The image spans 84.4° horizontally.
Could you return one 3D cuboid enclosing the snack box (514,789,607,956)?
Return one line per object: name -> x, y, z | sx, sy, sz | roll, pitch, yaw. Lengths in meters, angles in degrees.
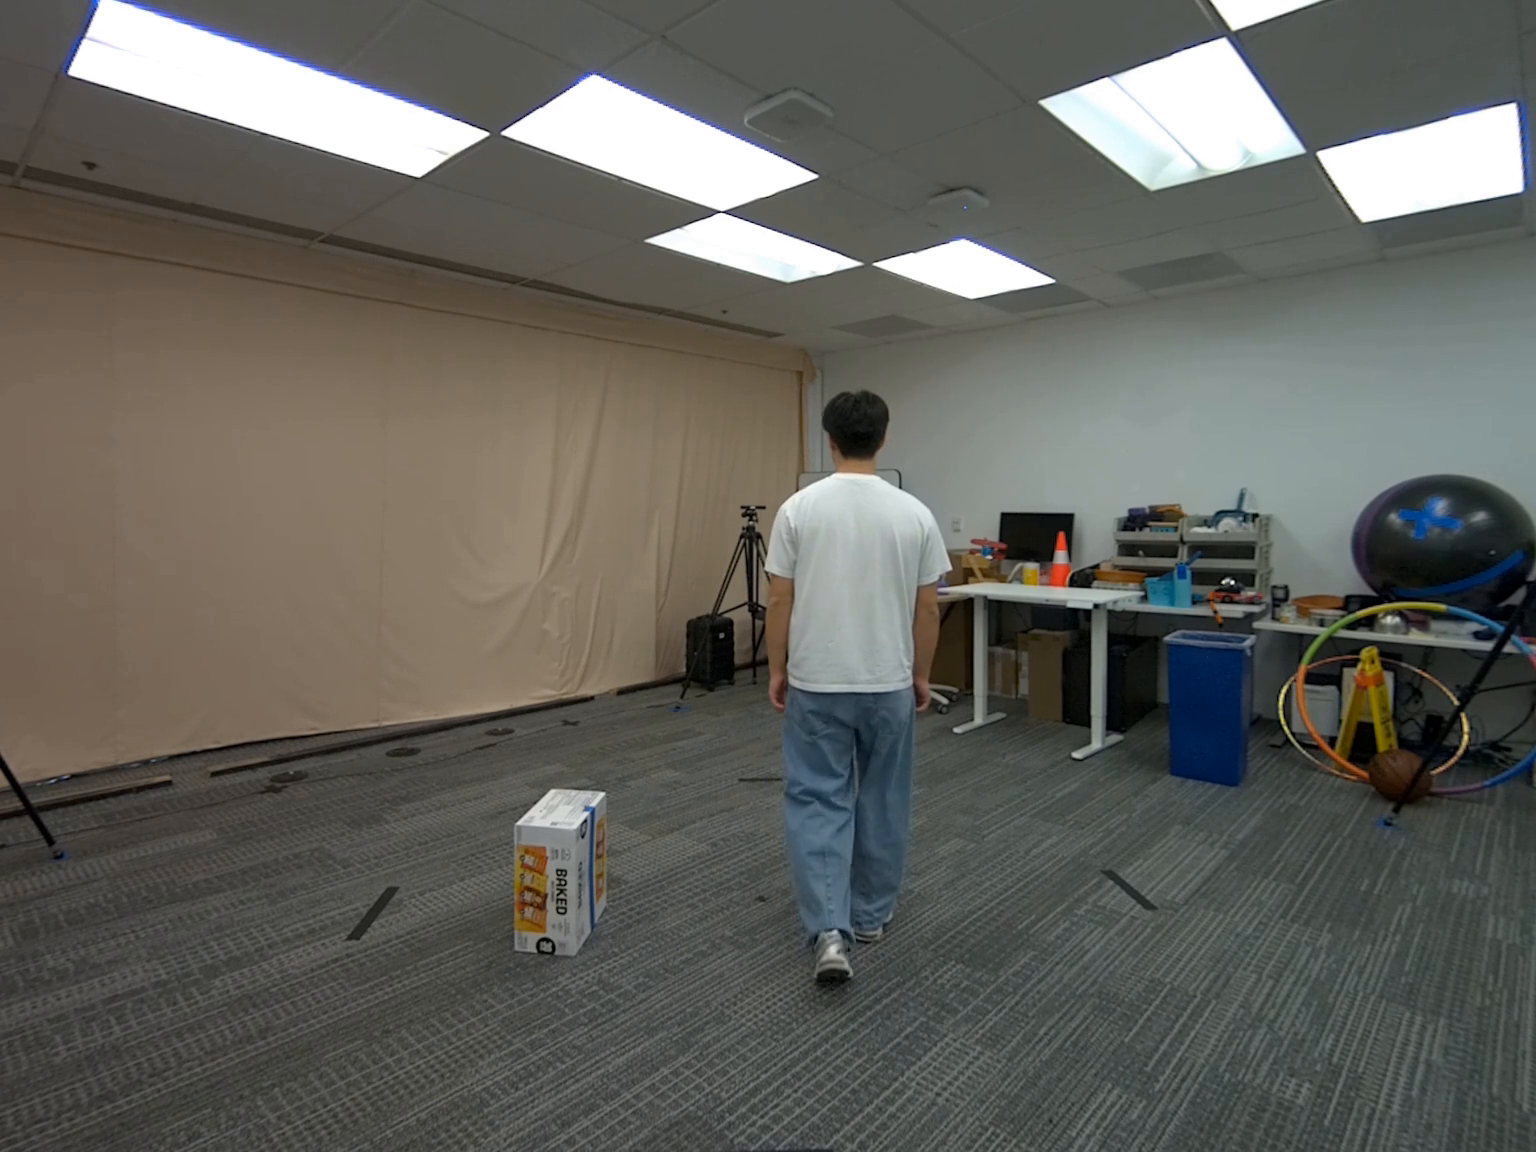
snack box -> -0.680, 0.967, 2.765 | 0.207, 0.404, 0.338 | 1, 3, 6
